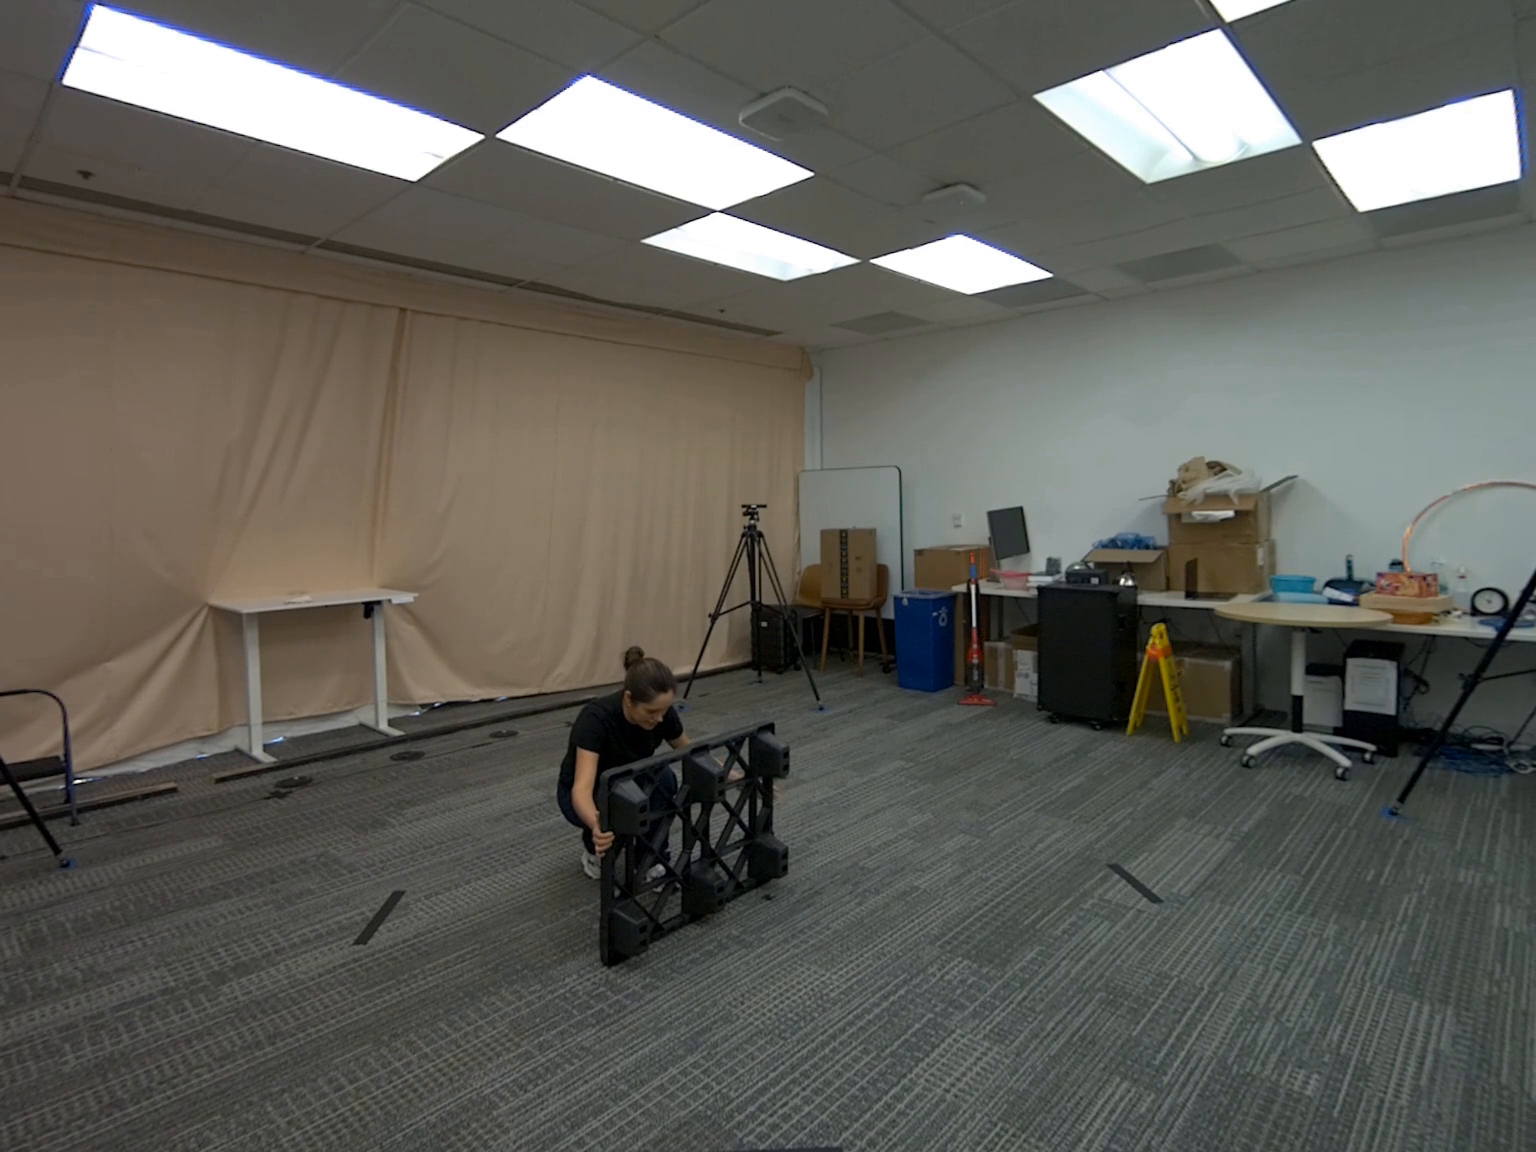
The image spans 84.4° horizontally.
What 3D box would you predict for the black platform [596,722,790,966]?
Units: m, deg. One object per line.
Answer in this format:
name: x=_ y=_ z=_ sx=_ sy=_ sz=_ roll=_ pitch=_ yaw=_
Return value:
black platform: x=-0.191 y=0.865 z=2.789 sx=0.148 sy=0.603 sz=0.782 roll=4 pitch=7 yaw=41
